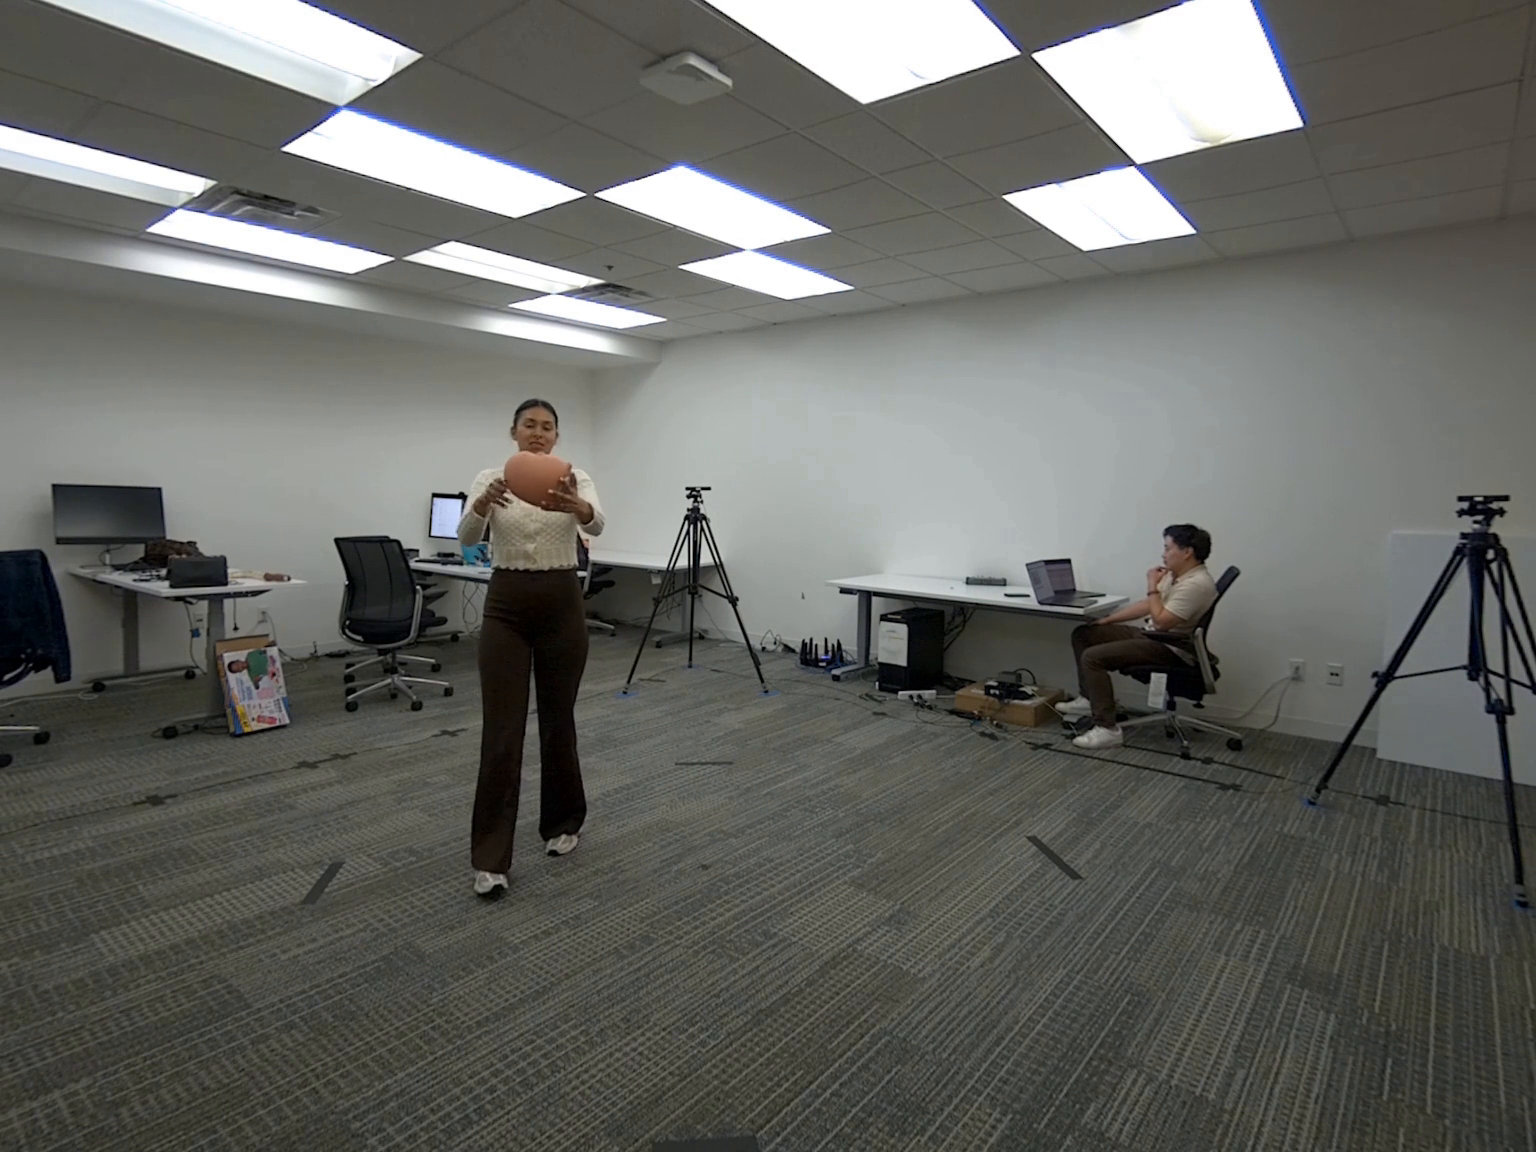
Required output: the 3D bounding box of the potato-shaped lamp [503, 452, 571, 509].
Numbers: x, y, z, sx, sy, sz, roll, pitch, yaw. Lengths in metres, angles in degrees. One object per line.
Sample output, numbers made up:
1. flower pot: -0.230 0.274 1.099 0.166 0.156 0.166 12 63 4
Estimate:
1. potato-shaped lamp: -0.738 -0.311 2.645 0.200 0.172 0.162 28 -21 6
